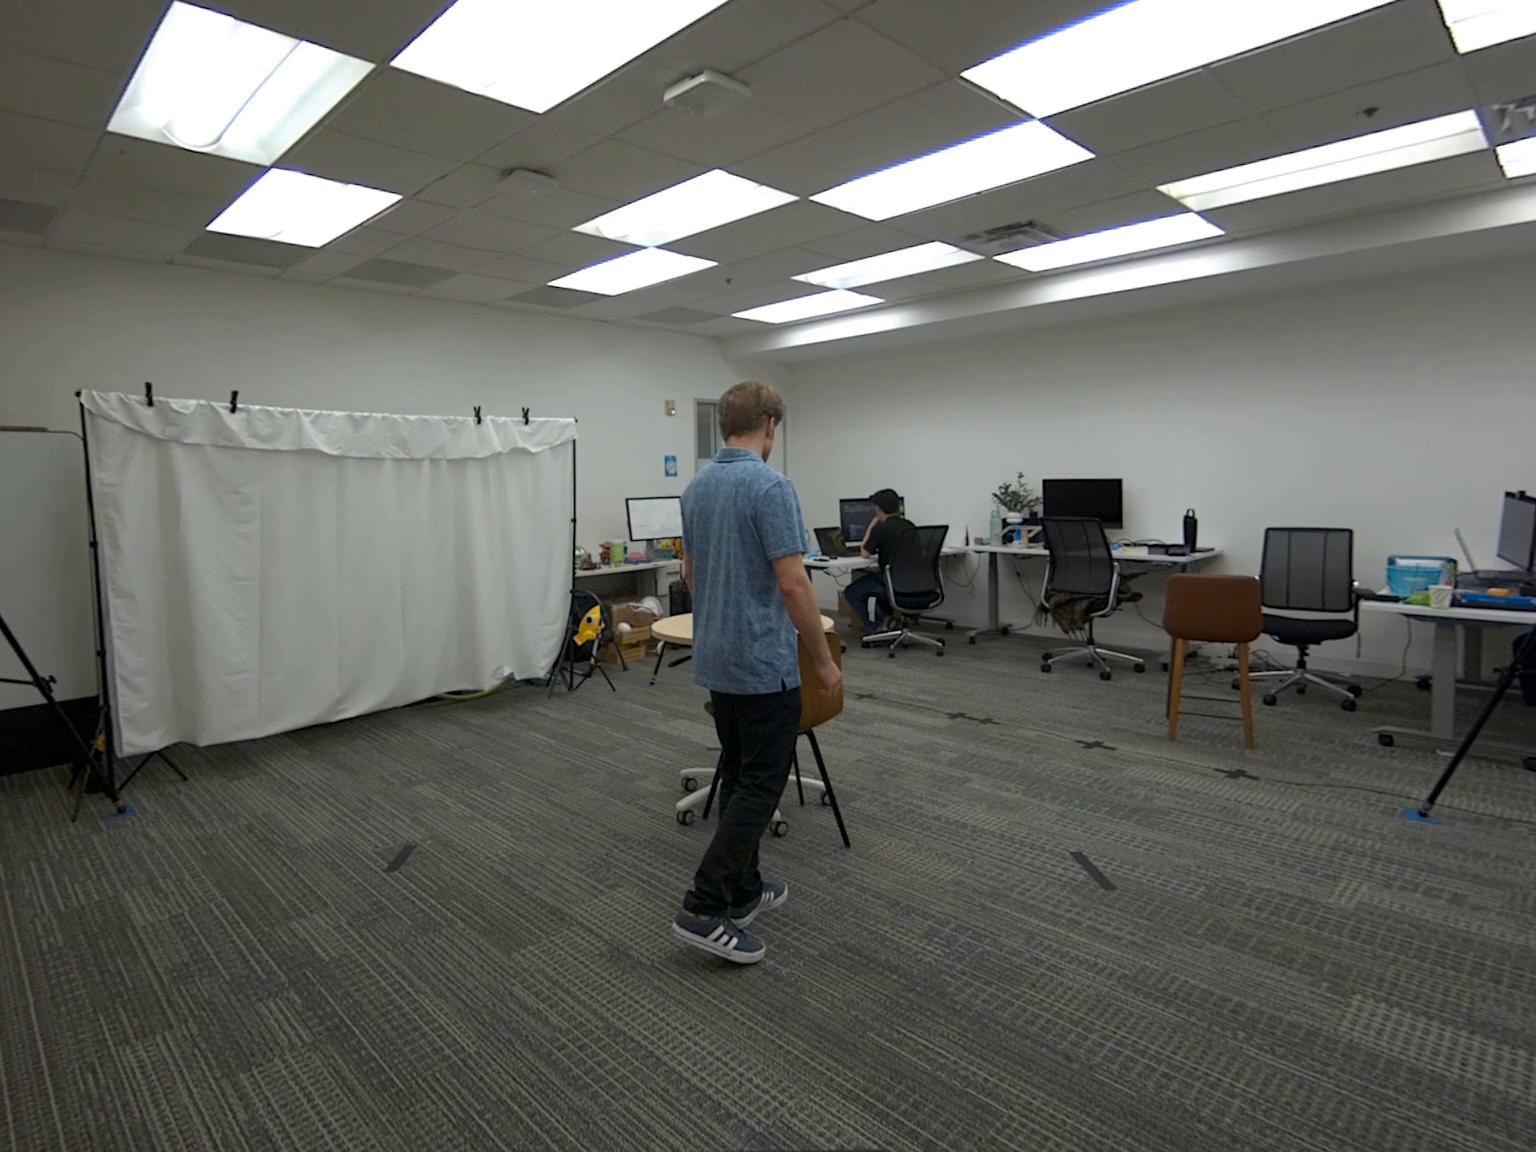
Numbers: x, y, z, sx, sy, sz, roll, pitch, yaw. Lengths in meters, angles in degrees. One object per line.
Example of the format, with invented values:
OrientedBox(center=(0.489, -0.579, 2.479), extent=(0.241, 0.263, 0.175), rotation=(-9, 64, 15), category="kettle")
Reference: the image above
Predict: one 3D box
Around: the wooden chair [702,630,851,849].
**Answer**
OrientedBox(center=(0.019, 0.585, 3.343), extent=(0.470, 0.871, 0.536), rotation=(-3, 9, -20), category="wooden chair")
